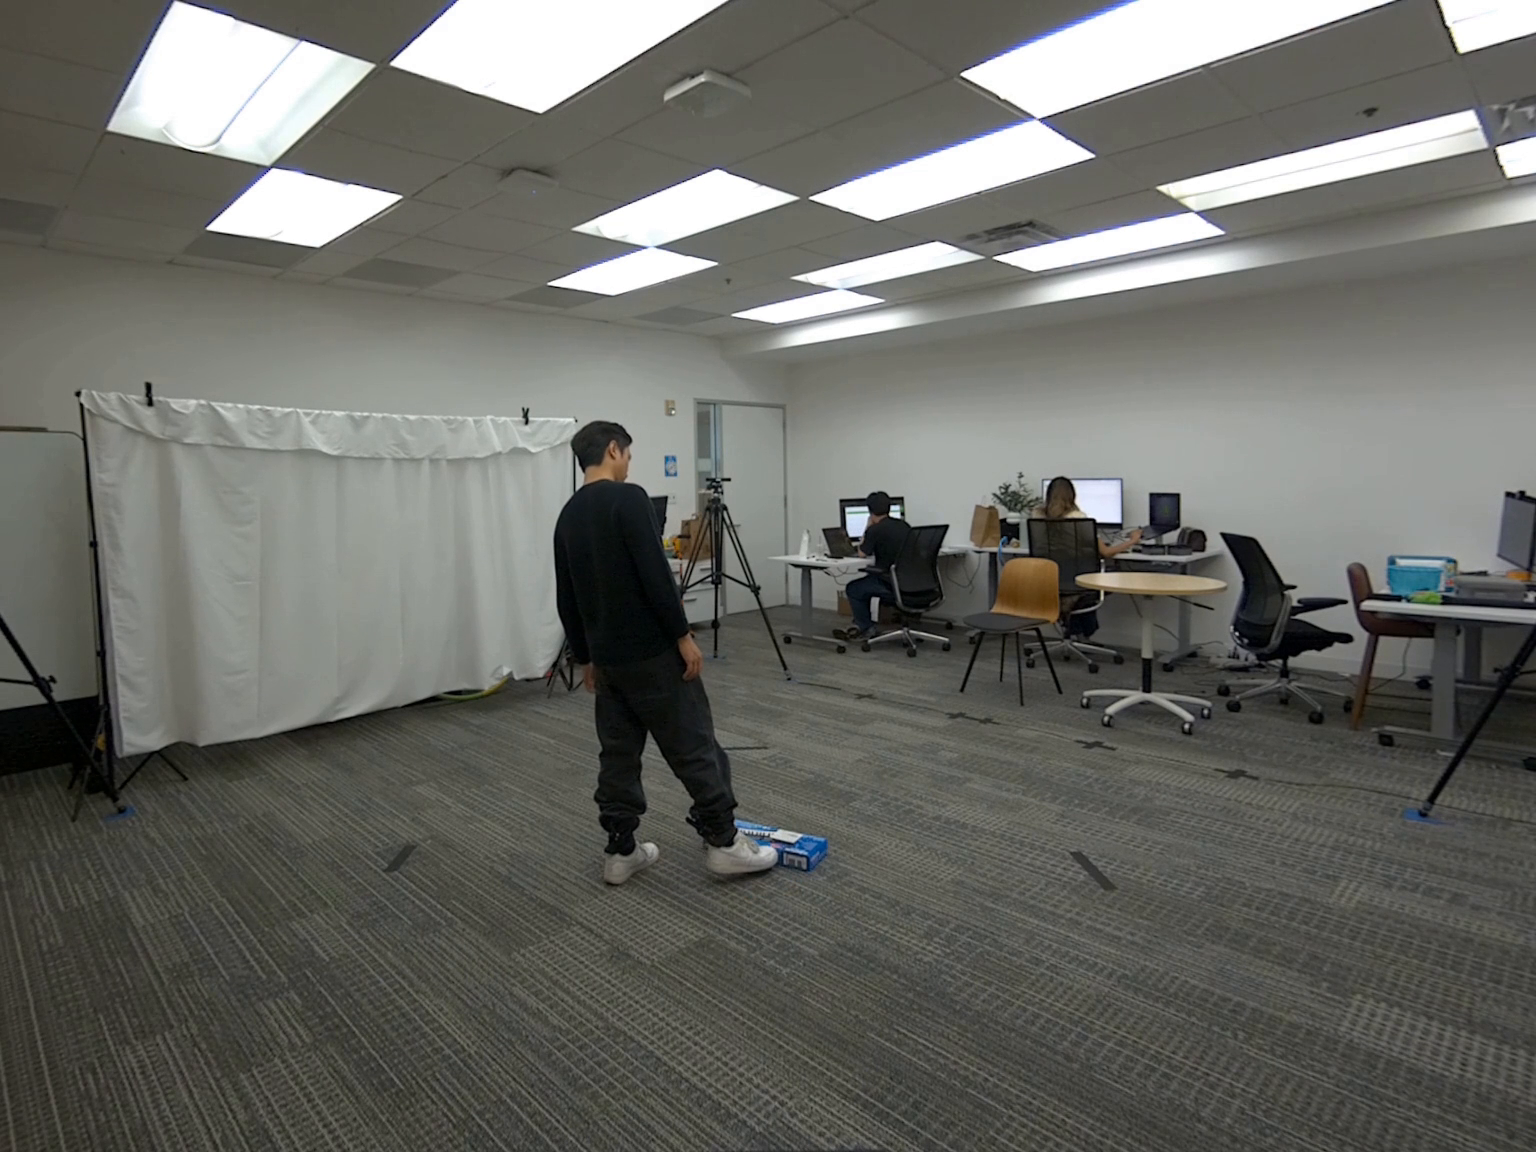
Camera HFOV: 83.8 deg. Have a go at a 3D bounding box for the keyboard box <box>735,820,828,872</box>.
[{"bbox_3d":[-0.012,1.000,3.197,0.448,0.059,0.172,3,7,29],"label":"keyboard box"}]
